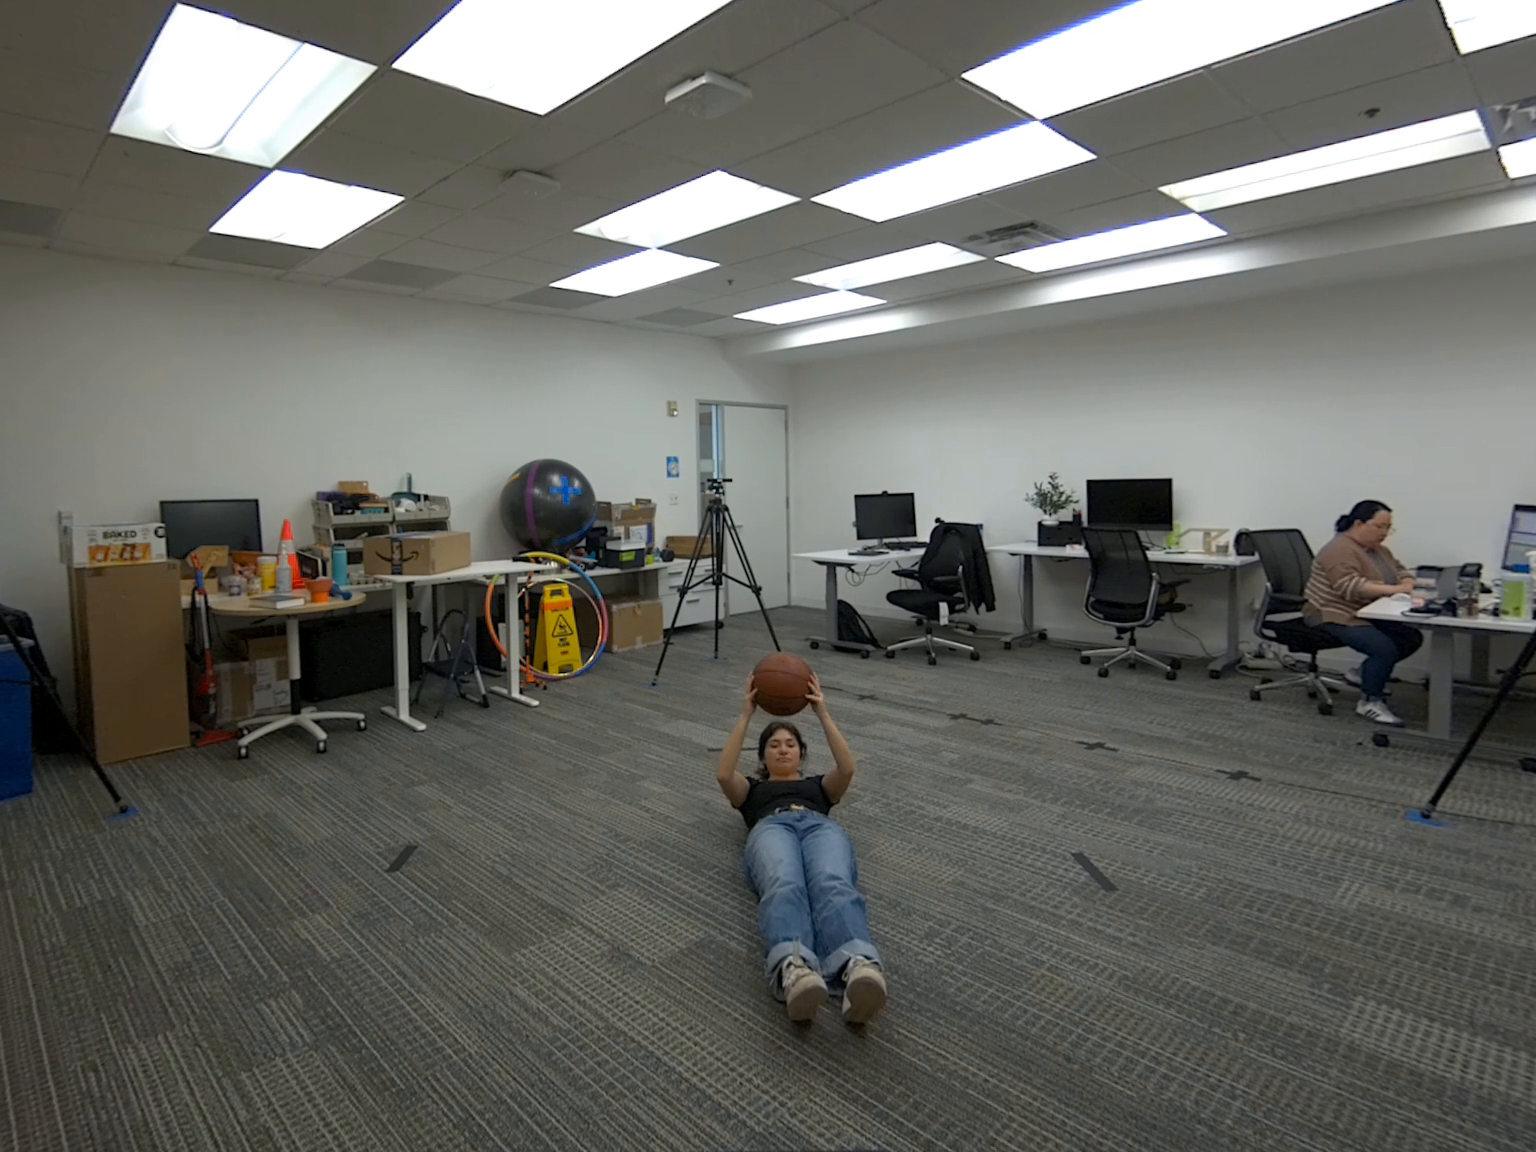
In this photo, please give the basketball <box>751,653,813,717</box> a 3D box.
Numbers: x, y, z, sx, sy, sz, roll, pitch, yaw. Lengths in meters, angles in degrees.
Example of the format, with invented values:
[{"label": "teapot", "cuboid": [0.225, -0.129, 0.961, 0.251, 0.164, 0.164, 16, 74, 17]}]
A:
[{"label": "basketball", "cuboid": [0.056, 0.411, 3.241, 0.236, 0.235, 0.237, -1, 5, -2]}]
